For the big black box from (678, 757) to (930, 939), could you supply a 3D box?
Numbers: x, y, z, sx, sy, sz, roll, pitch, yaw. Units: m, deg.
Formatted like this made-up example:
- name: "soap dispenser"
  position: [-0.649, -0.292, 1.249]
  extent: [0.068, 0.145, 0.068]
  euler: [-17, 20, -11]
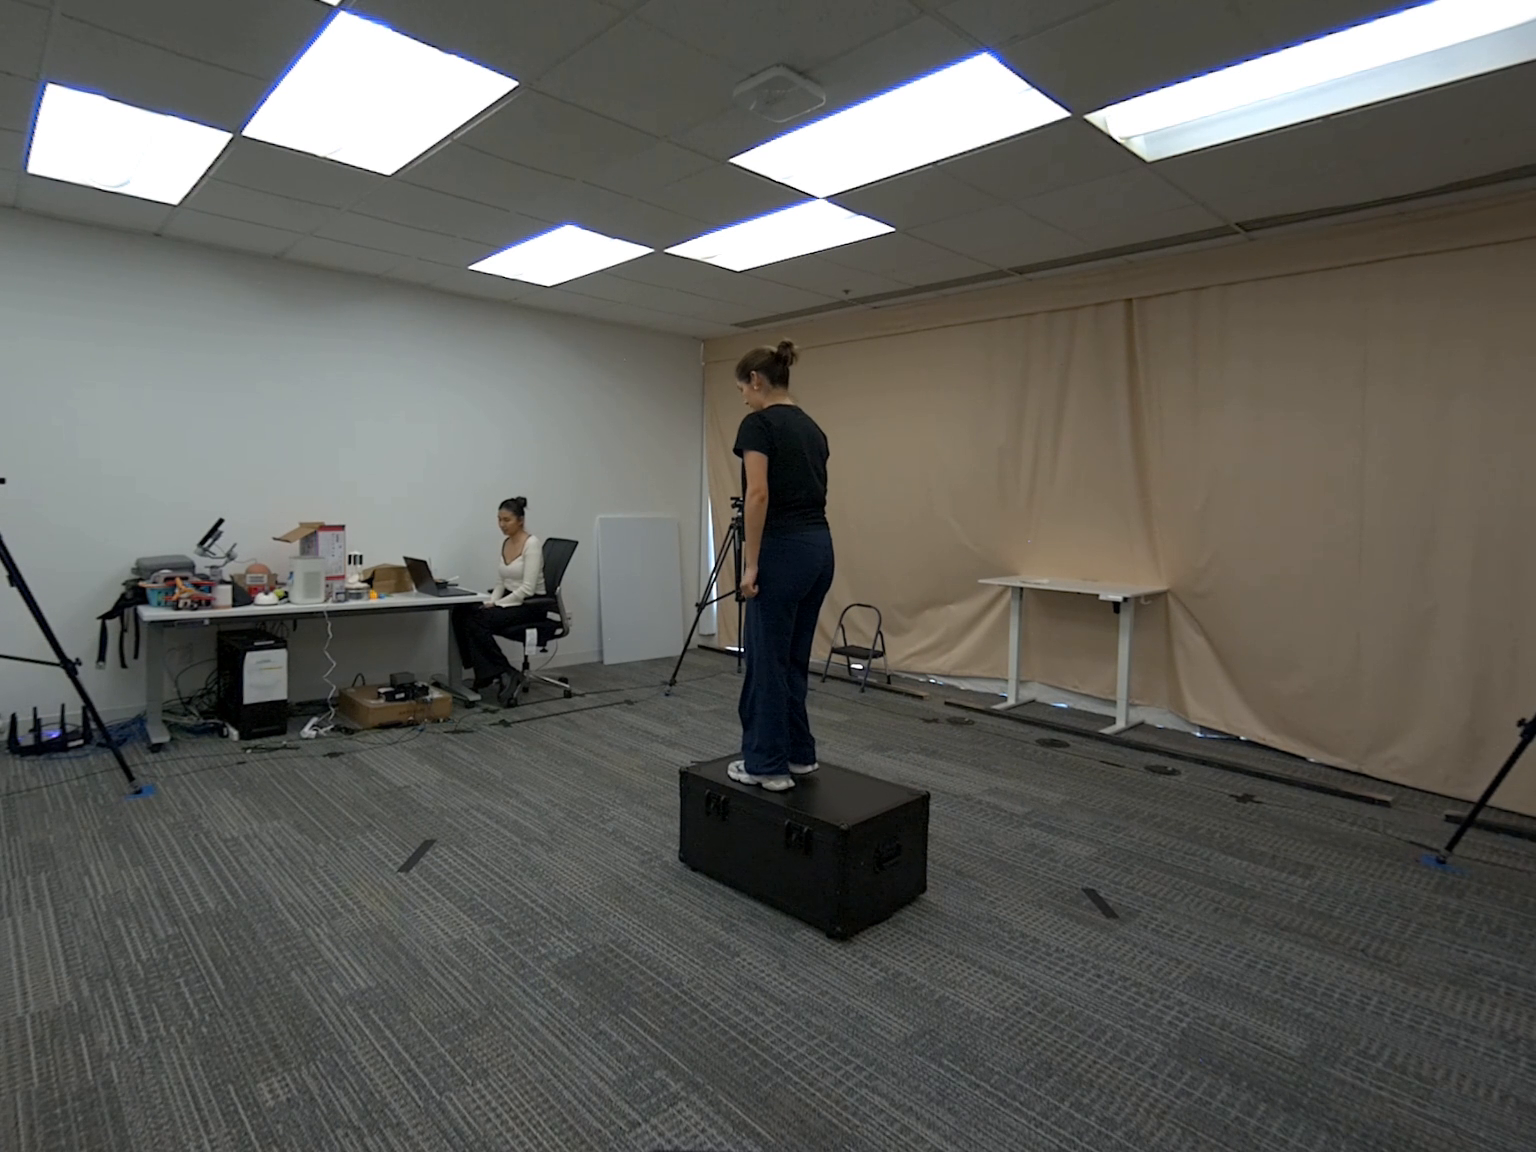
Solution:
- name: "big black box"
  position: [0.090, 0.926, 3.072]
  extent: [0.884, 0.395, 0.509]
  euler: [6, 6, 43]
